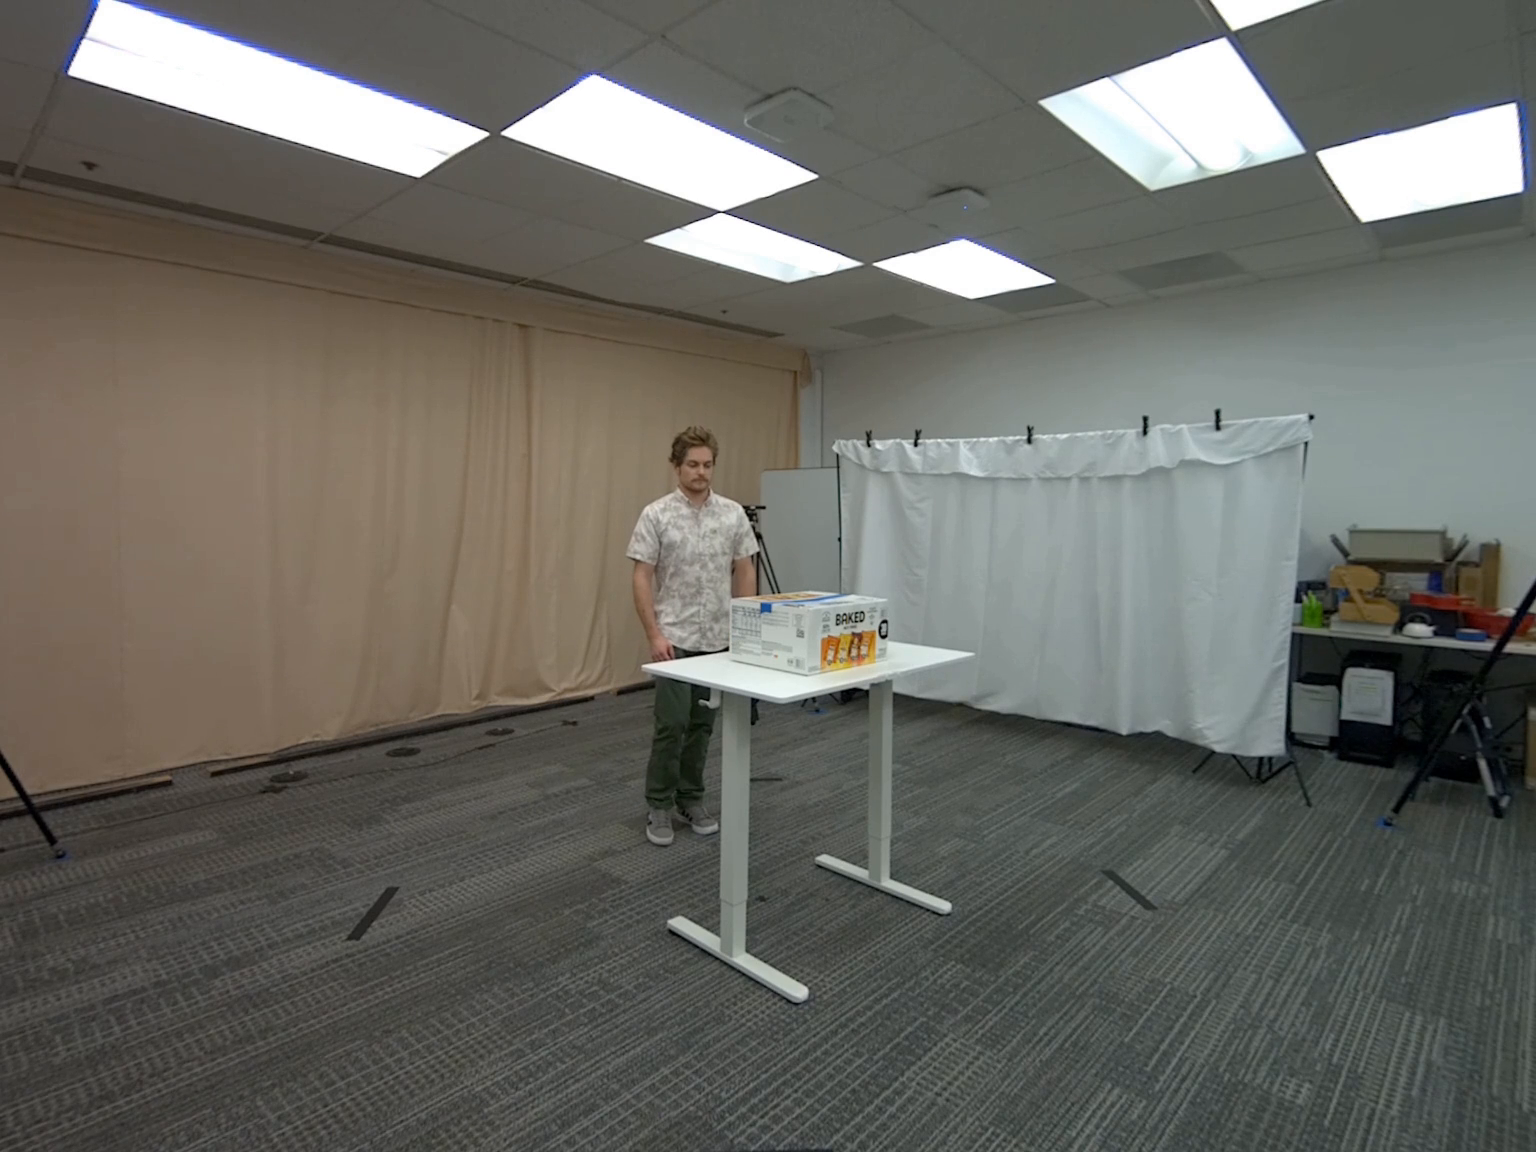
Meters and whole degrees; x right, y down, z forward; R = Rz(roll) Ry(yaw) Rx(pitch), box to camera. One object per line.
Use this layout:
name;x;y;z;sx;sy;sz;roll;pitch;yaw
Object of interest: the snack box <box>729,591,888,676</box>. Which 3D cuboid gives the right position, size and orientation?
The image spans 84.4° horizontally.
snack box;0.141;0.177;2.752;0.393;0.205;0.352;-4;6;-45
